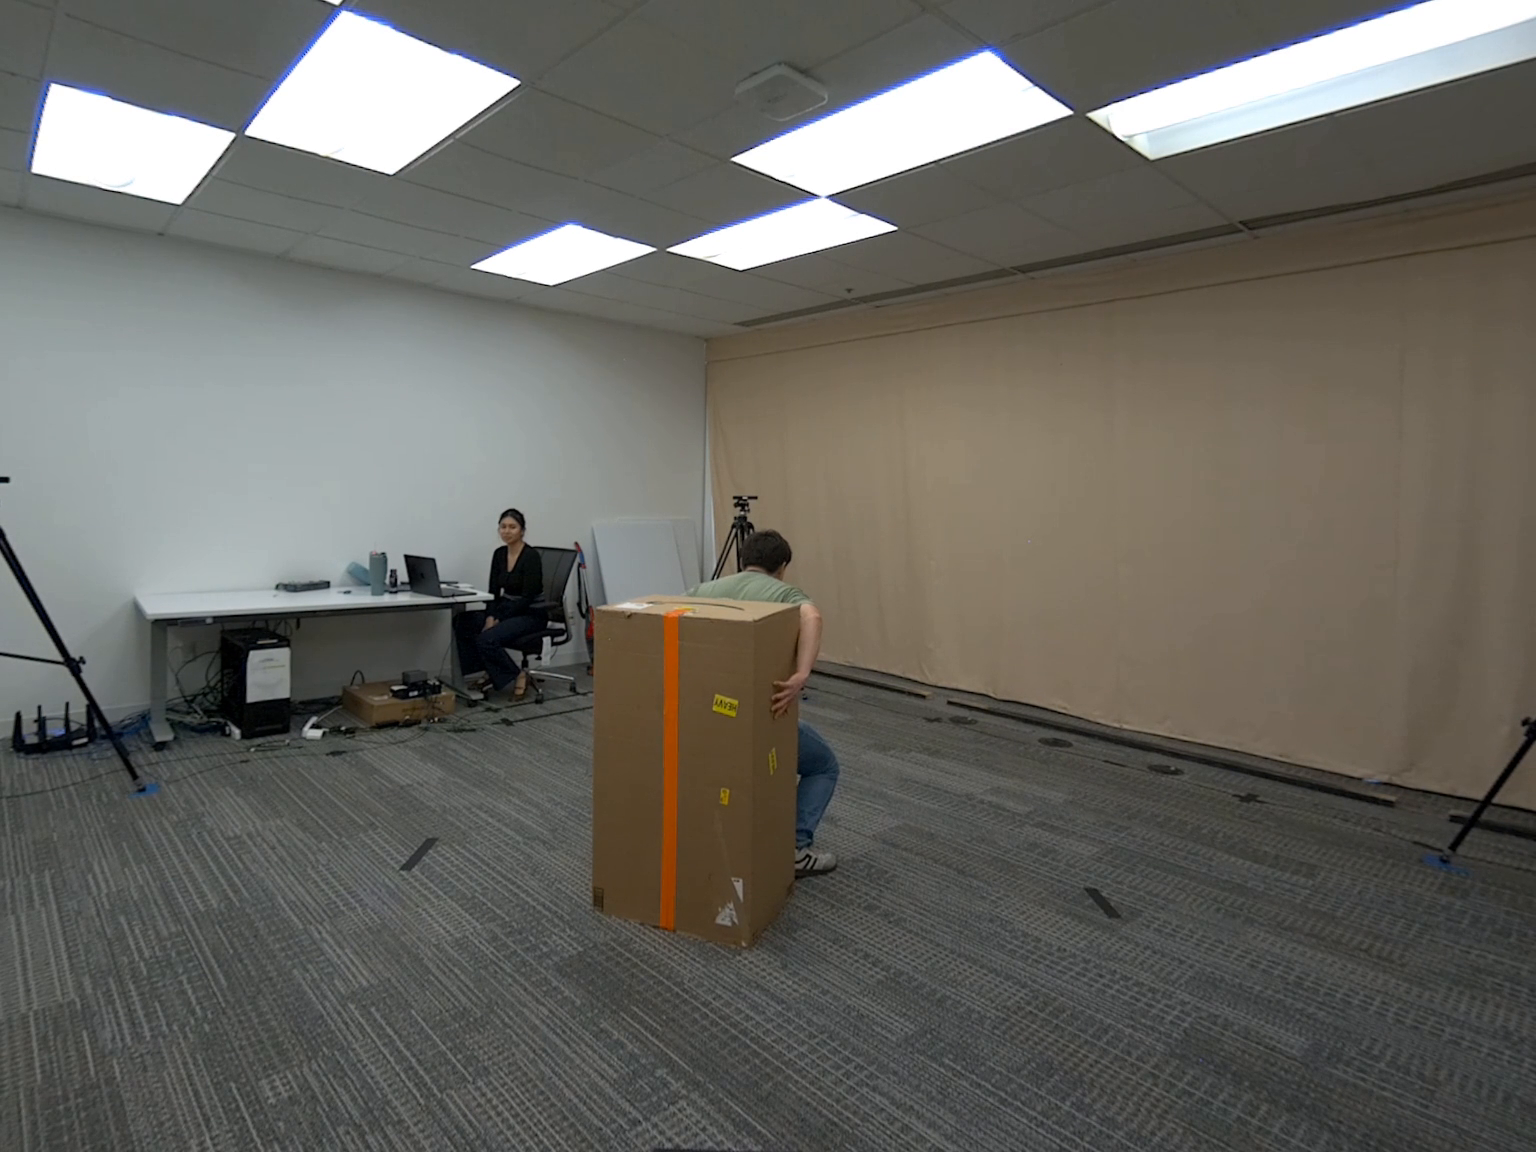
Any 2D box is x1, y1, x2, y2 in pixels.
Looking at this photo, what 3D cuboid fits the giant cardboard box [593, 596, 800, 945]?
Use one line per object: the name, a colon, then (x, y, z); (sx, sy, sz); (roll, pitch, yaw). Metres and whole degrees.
giant cardboard box: (-0.245, 0.609, 2.852); (0.588, 1.023, 0.419); (3, 4, 24)
